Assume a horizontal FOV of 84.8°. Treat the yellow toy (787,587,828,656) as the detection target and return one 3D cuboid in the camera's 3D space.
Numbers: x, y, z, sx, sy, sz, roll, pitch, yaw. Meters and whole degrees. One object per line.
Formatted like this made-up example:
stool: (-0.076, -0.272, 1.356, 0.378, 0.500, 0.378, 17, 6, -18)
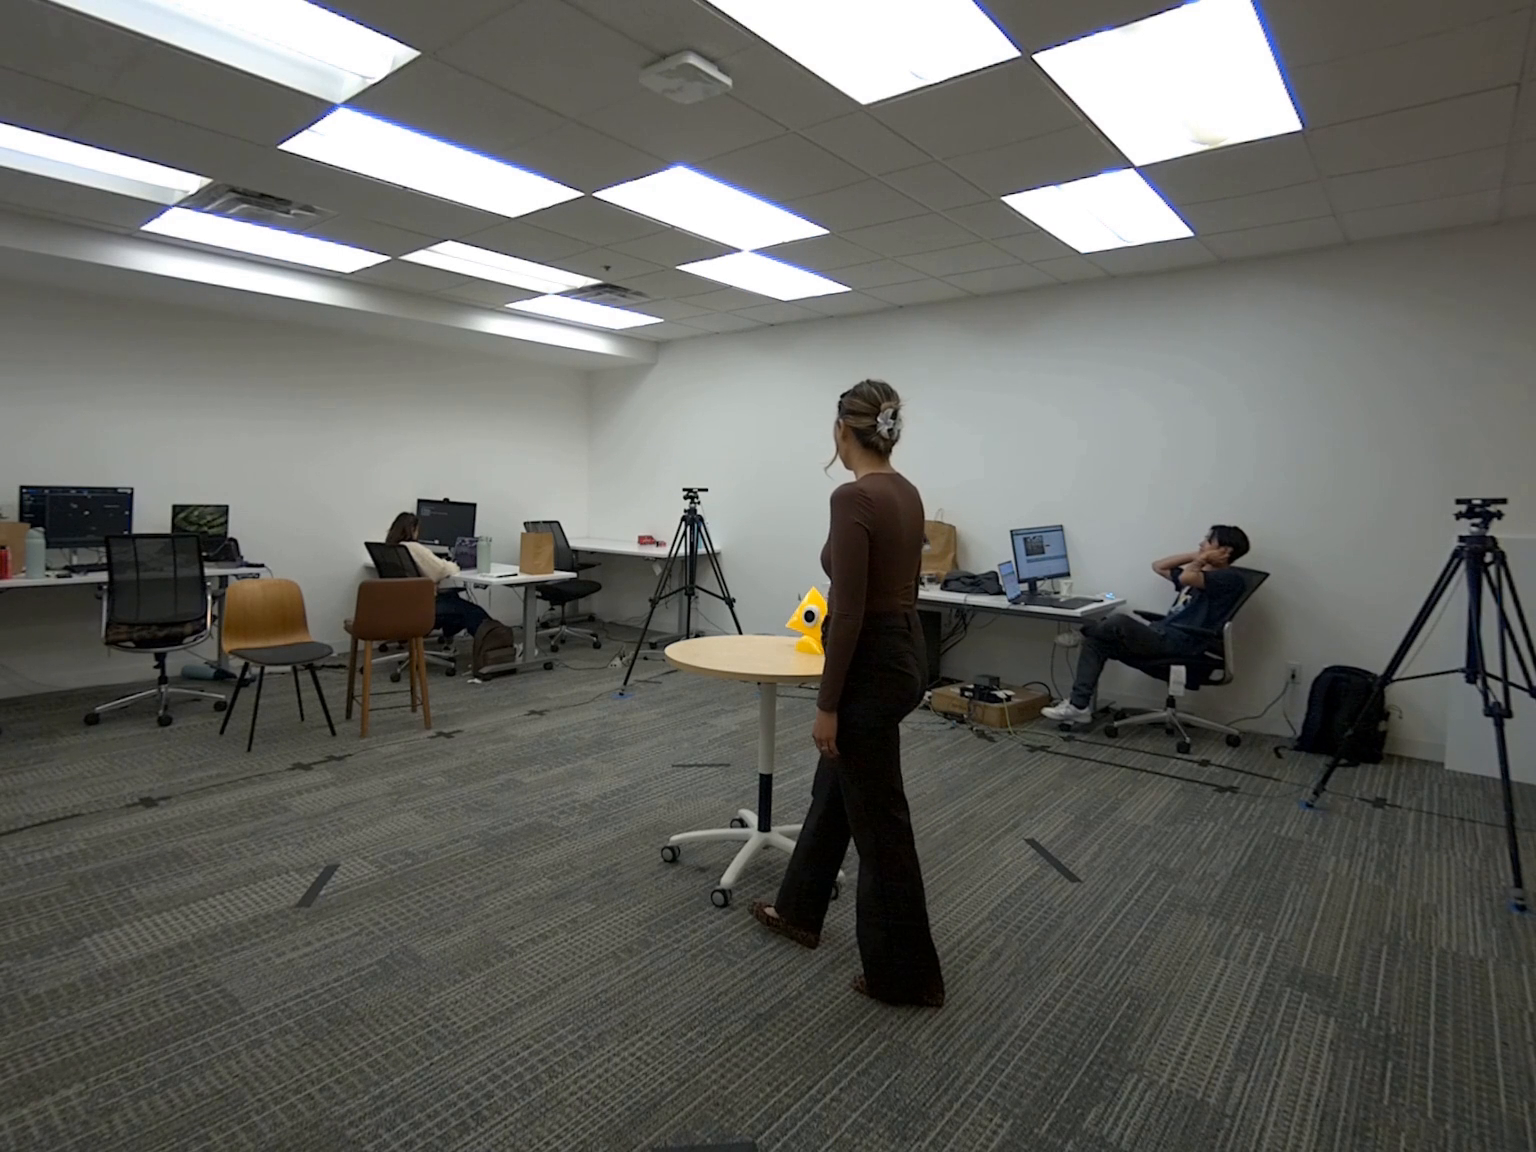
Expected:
yellow toy: (0.194, 0.161, 3.202, 0.199, 0.230, 0.199, 0, 4, -30)
